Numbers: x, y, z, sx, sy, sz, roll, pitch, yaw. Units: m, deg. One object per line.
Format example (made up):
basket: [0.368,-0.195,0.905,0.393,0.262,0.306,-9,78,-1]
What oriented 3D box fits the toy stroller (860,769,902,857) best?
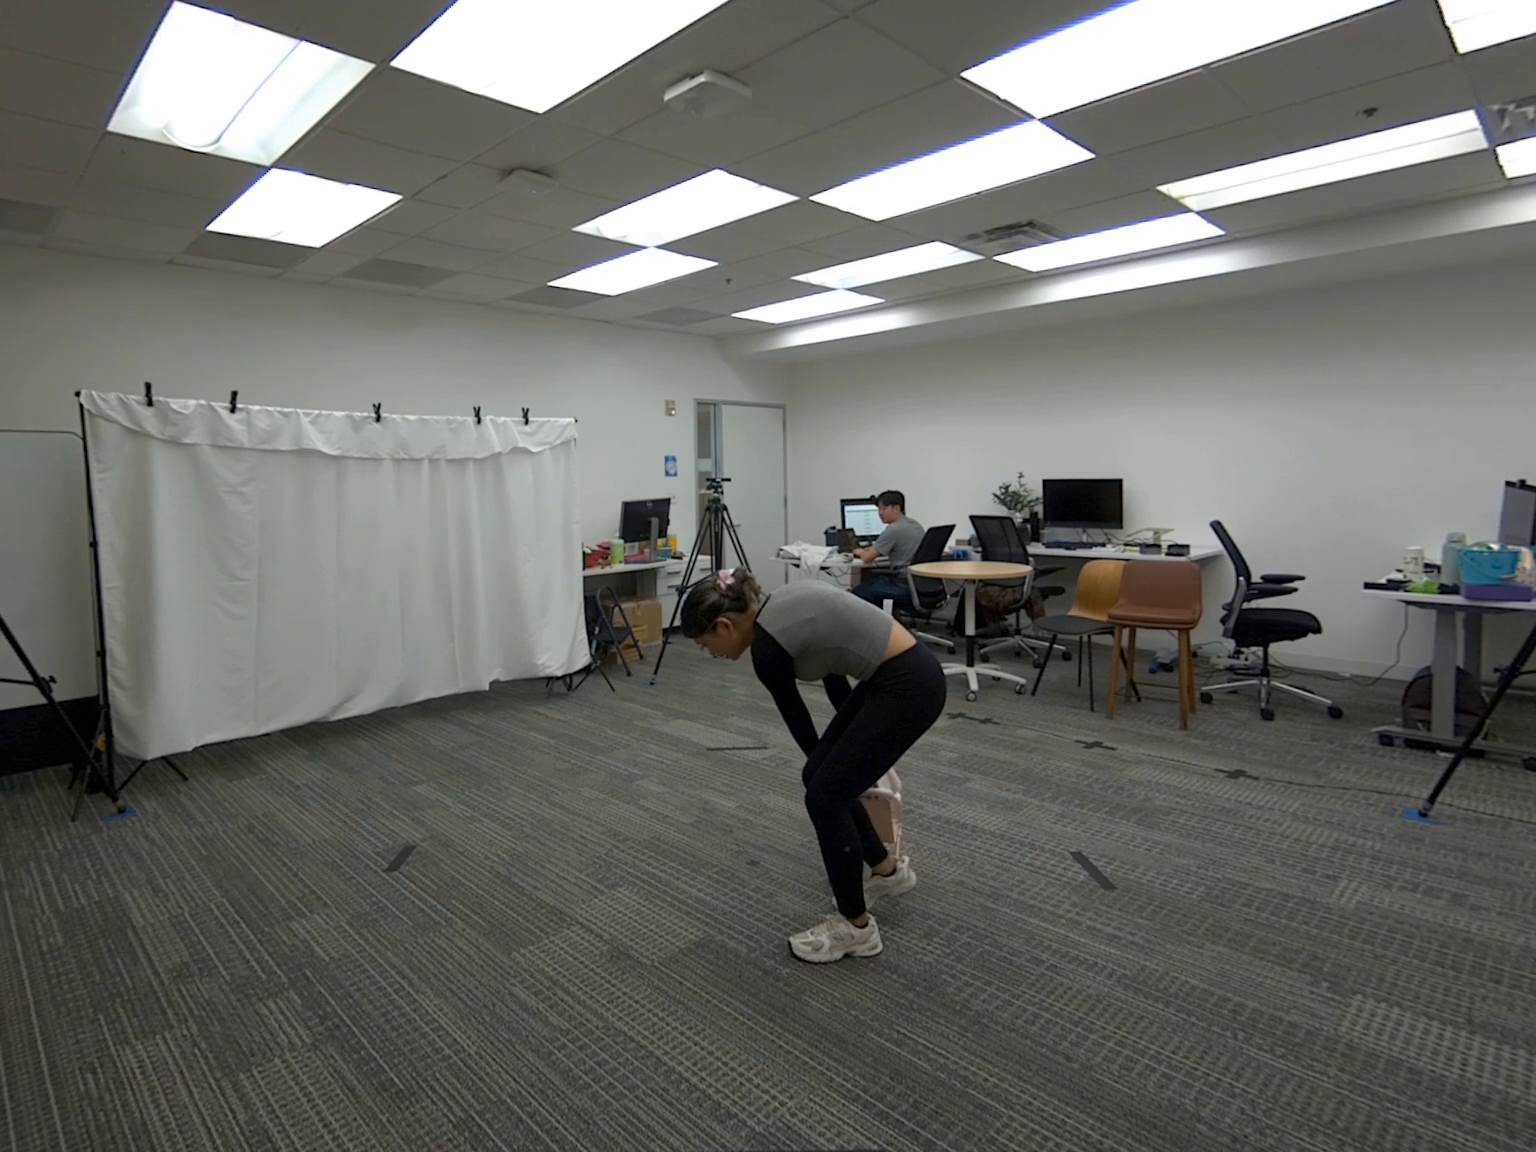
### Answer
toy stroller: [0.355,0.827,2.955,0.287,0.523,0.343,1,26,19]
